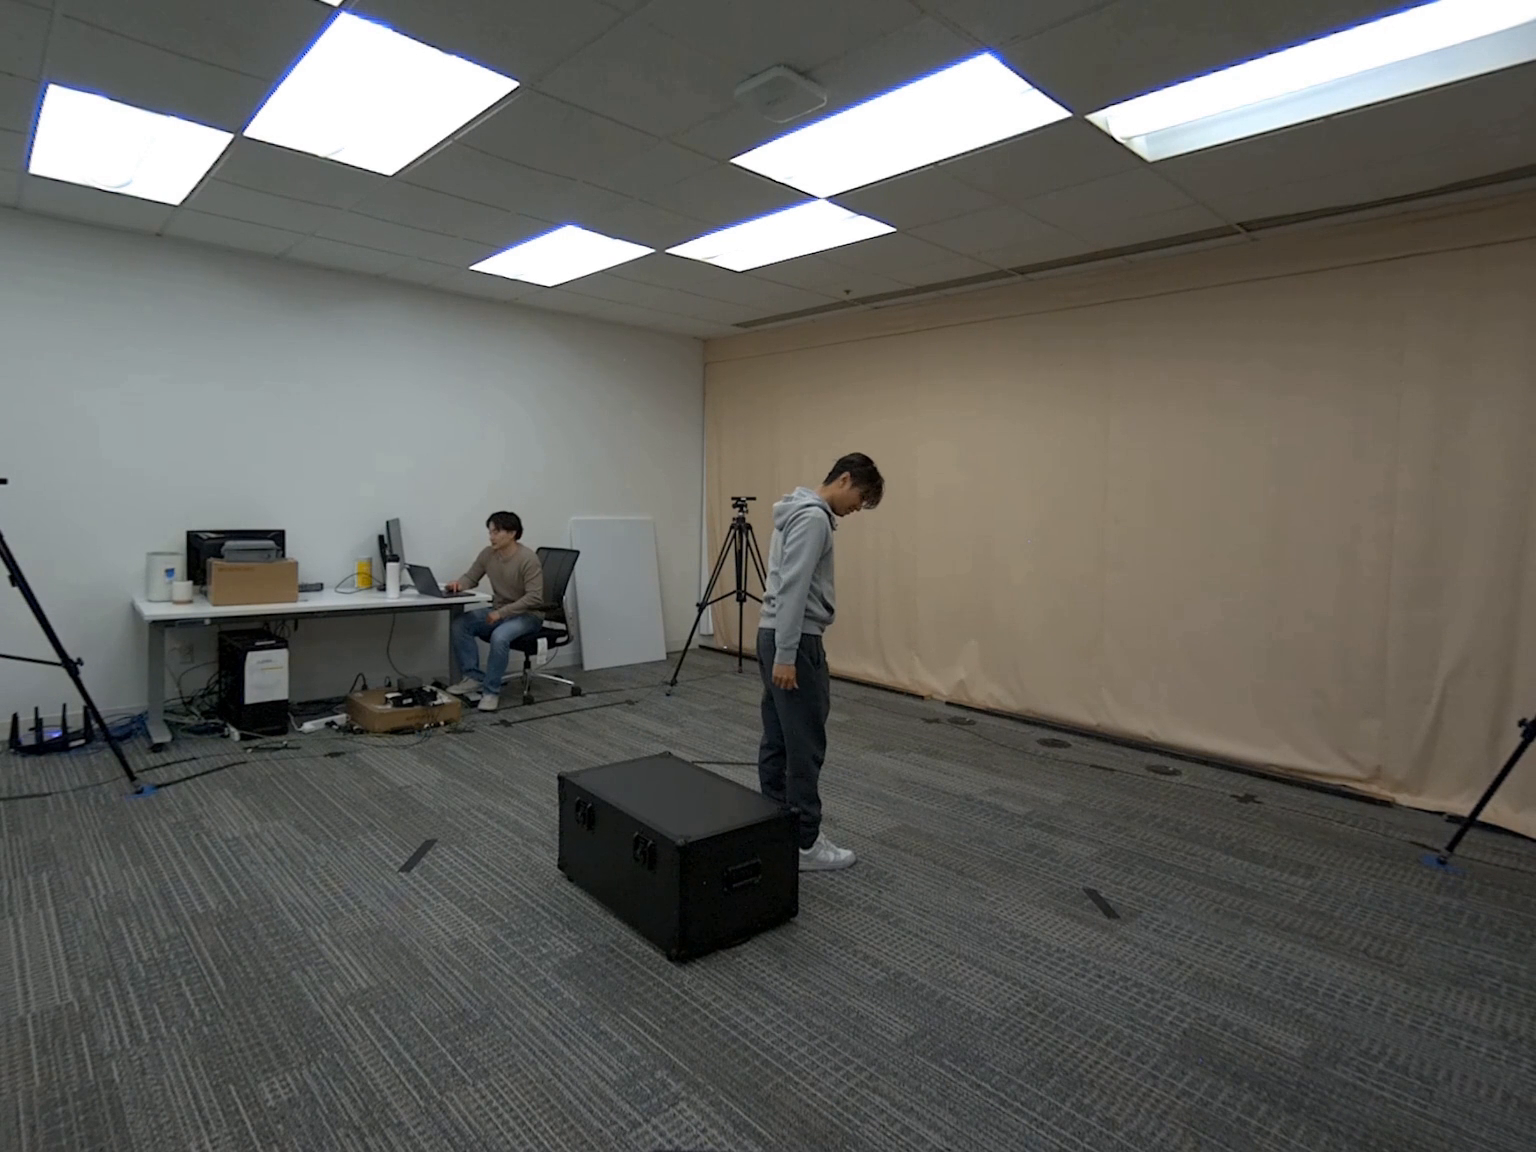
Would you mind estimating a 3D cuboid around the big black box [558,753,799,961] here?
[{"bbox_3d":[-0.357,0.929,2.934,0.509,0.395,0.884,-2,6,-40],"label":"big black box"}]
